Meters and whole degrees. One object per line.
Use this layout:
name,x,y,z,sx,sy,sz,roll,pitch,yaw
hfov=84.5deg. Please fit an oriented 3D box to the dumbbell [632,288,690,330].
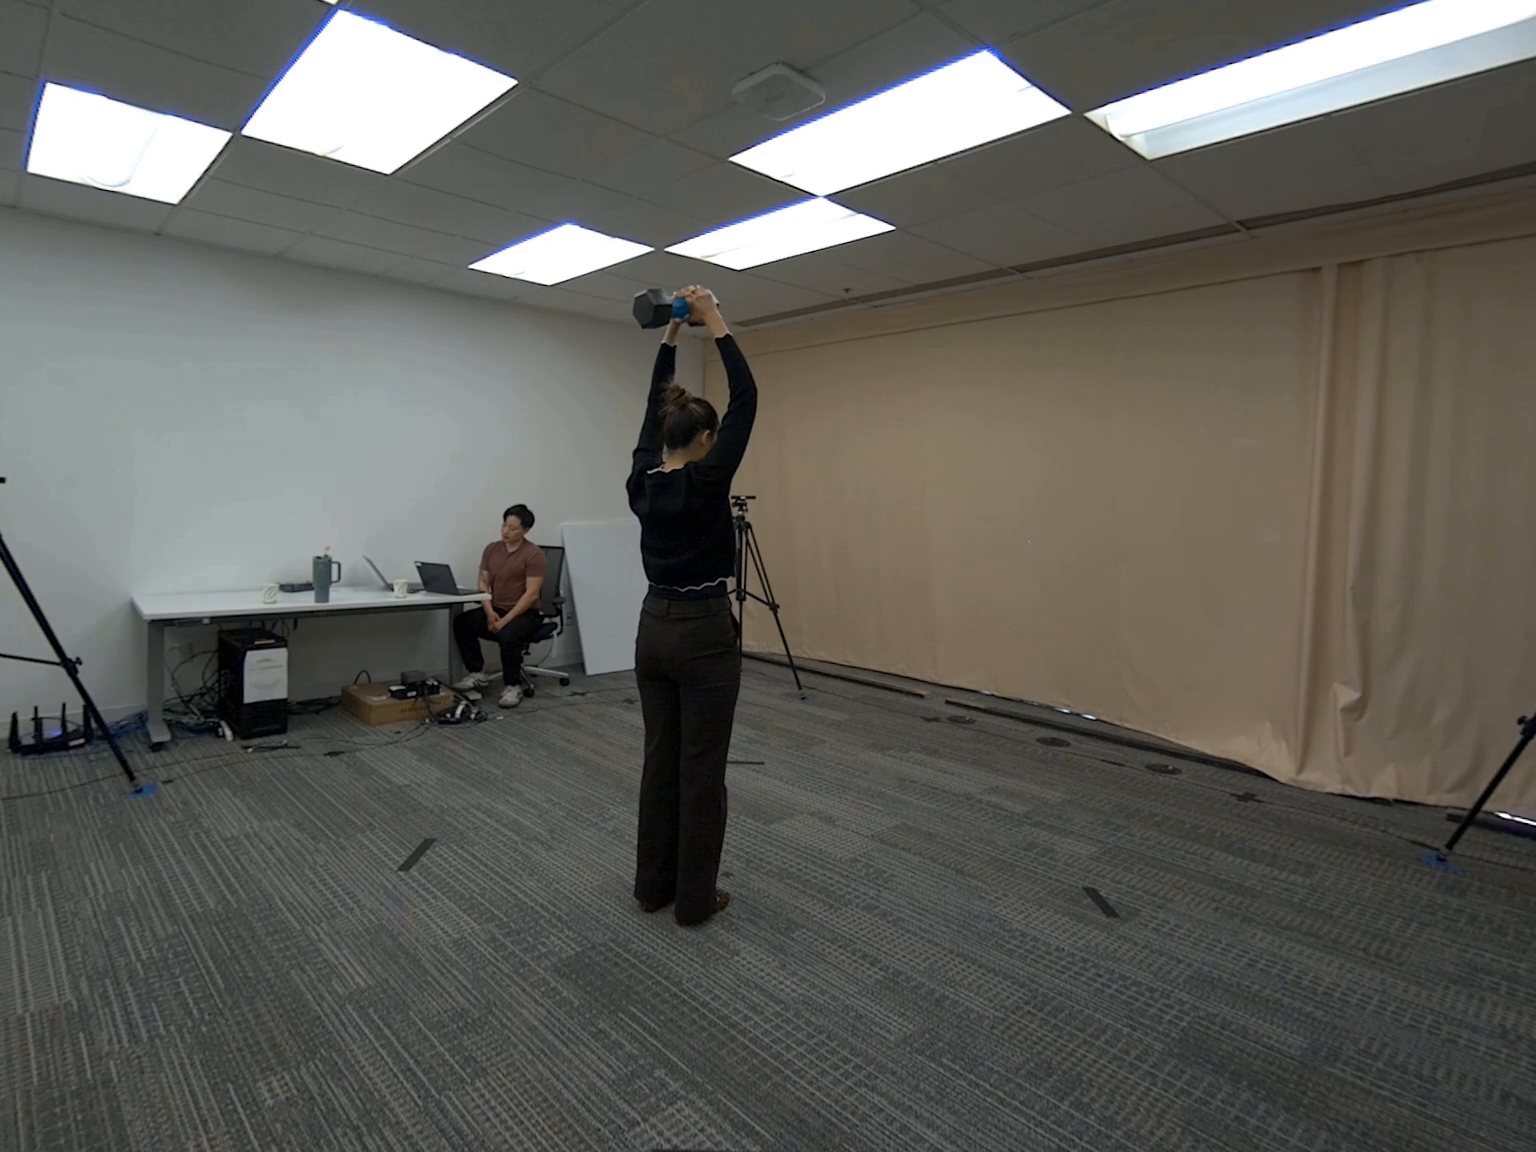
dumbbell,-0.293,-0.845,2.660,0.112,0.121,0.289,30,32,29
